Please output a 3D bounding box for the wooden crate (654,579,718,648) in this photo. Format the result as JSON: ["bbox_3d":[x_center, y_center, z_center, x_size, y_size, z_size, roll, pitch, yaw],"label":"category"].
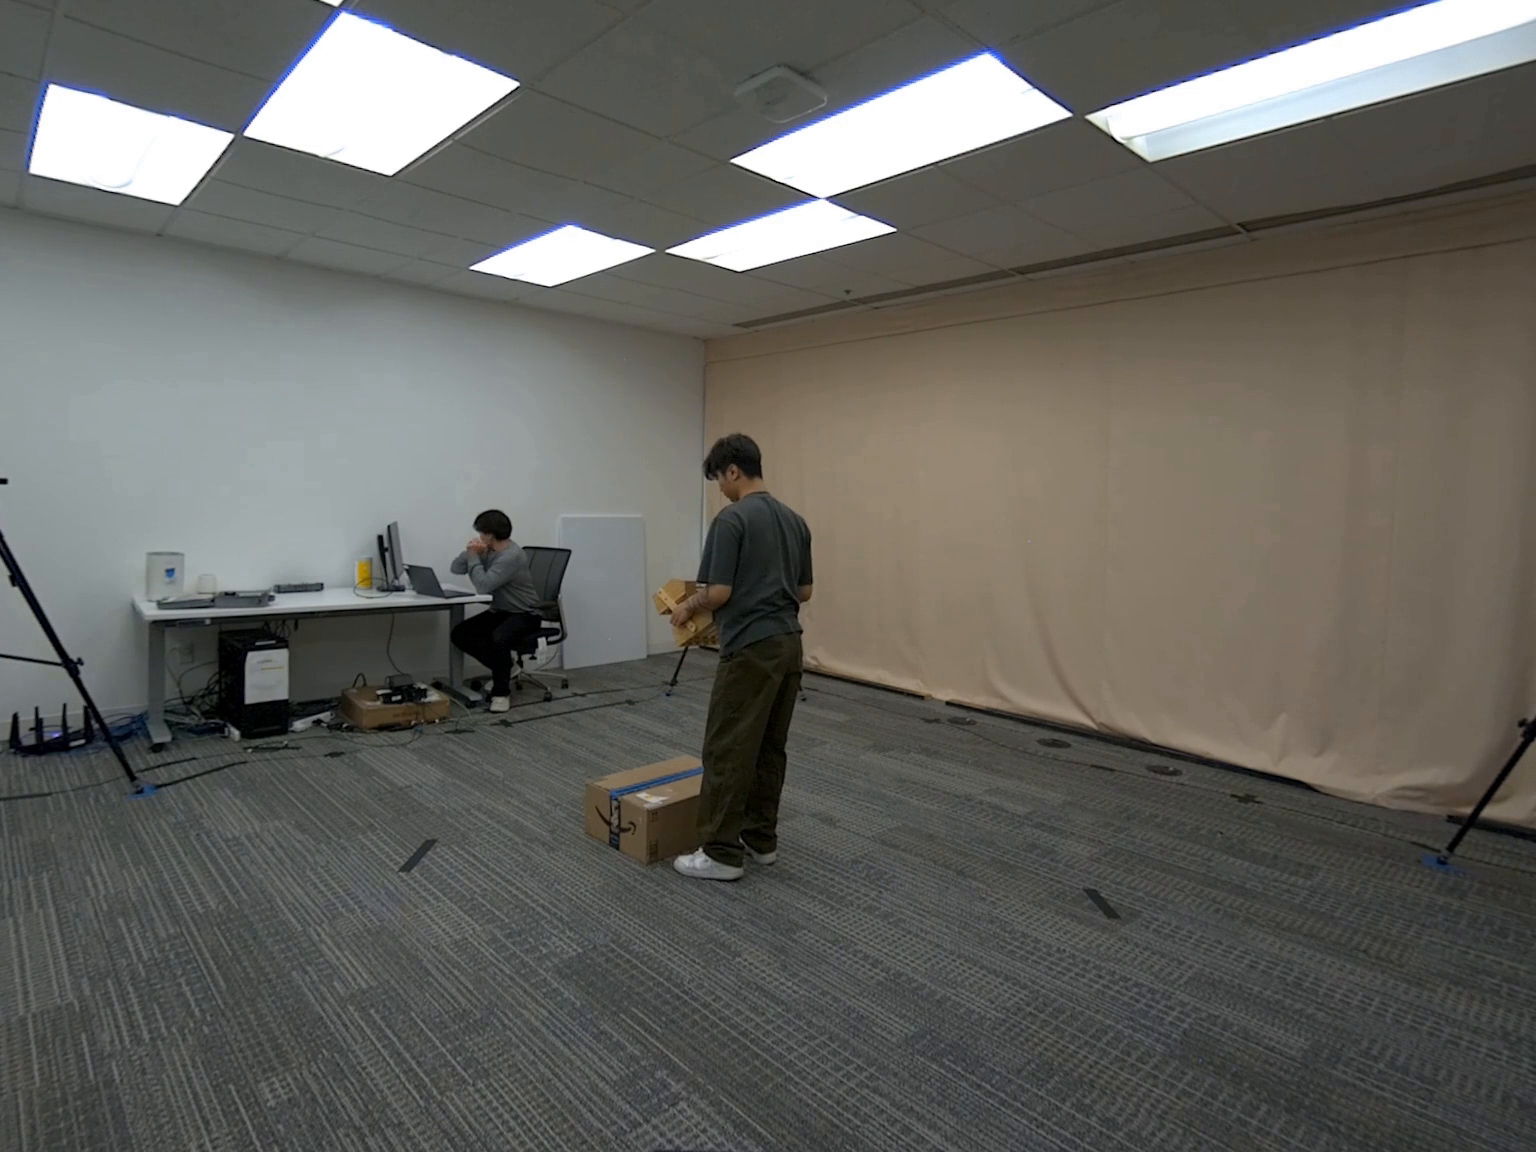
[{"bbox_3d":[-0.240,0.122,3.436,0.316,0.279,0.303,3,-32,-44],"label":"wooden crate"}]
